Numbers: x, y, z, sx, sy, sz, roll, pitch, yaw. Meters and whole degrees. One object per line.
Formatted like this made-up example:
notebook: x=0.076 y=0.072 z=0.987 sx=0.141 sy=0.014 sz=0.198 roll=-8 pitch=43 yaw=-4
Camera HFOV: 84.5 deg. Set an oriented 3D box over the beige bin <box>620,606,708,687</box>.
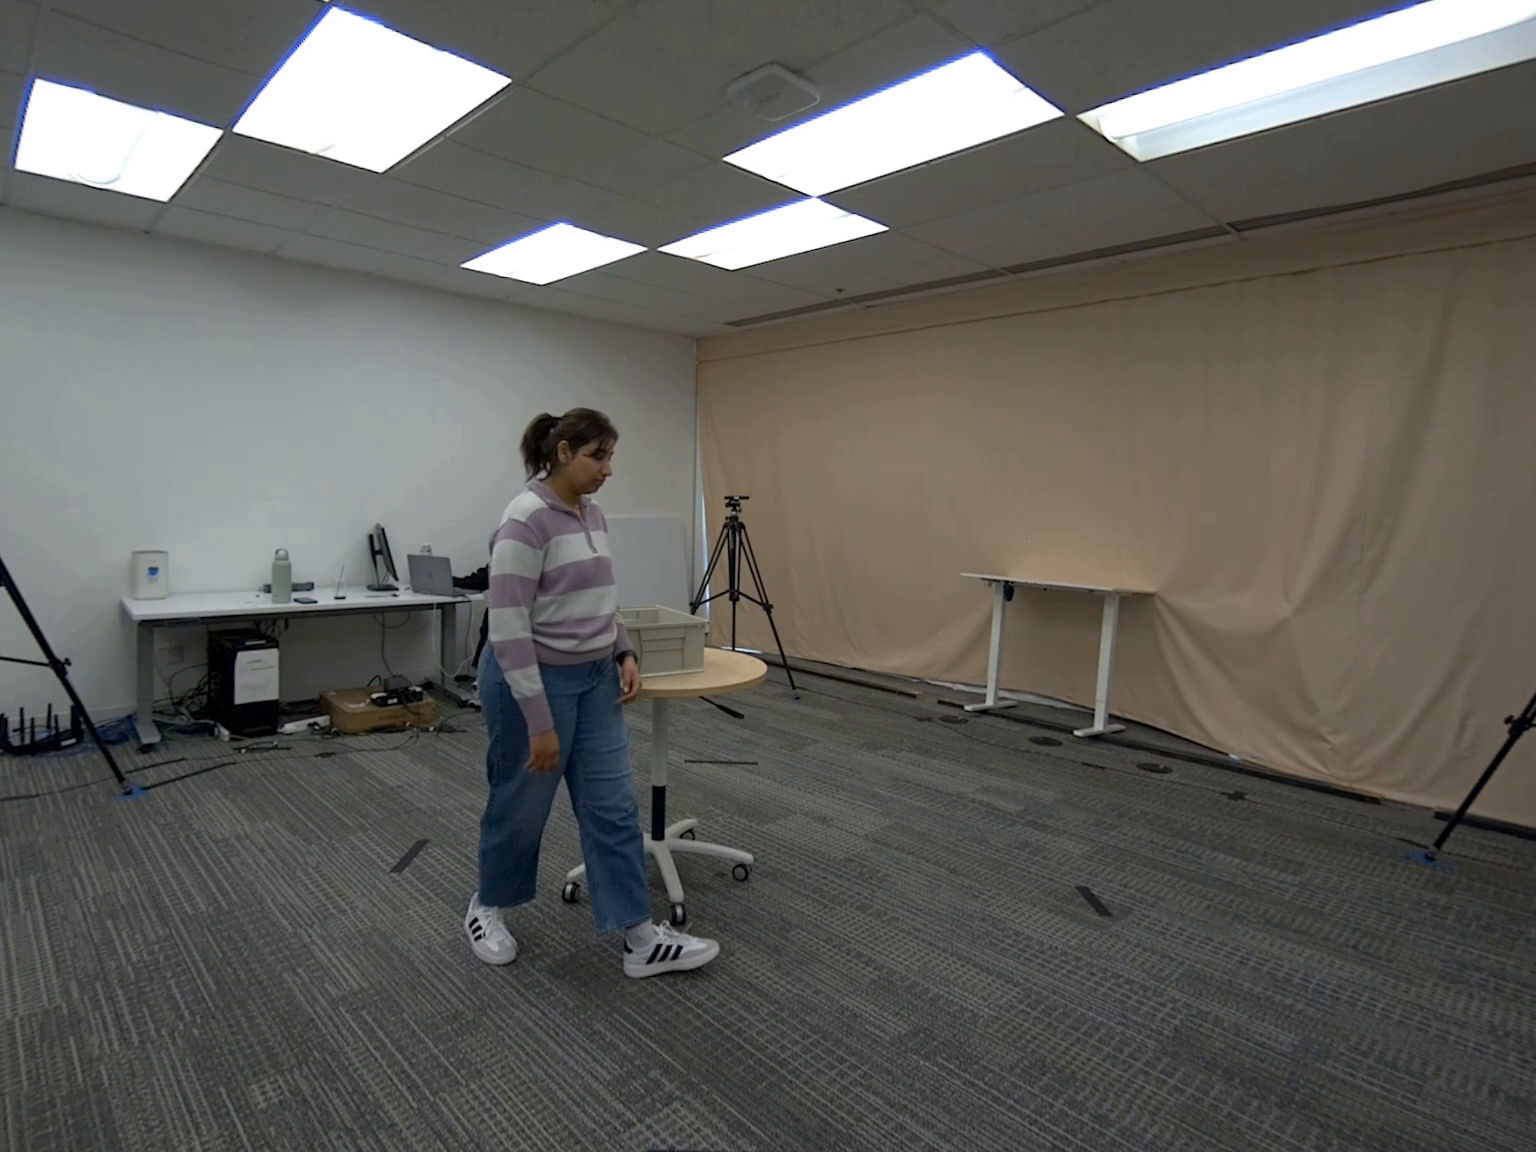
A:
beige bin: x=-0.479 y=0.235 z=3.013 sx=0.369 sy=0.188 sz=0.432 roll=0 pitch=5 yaw=-31
